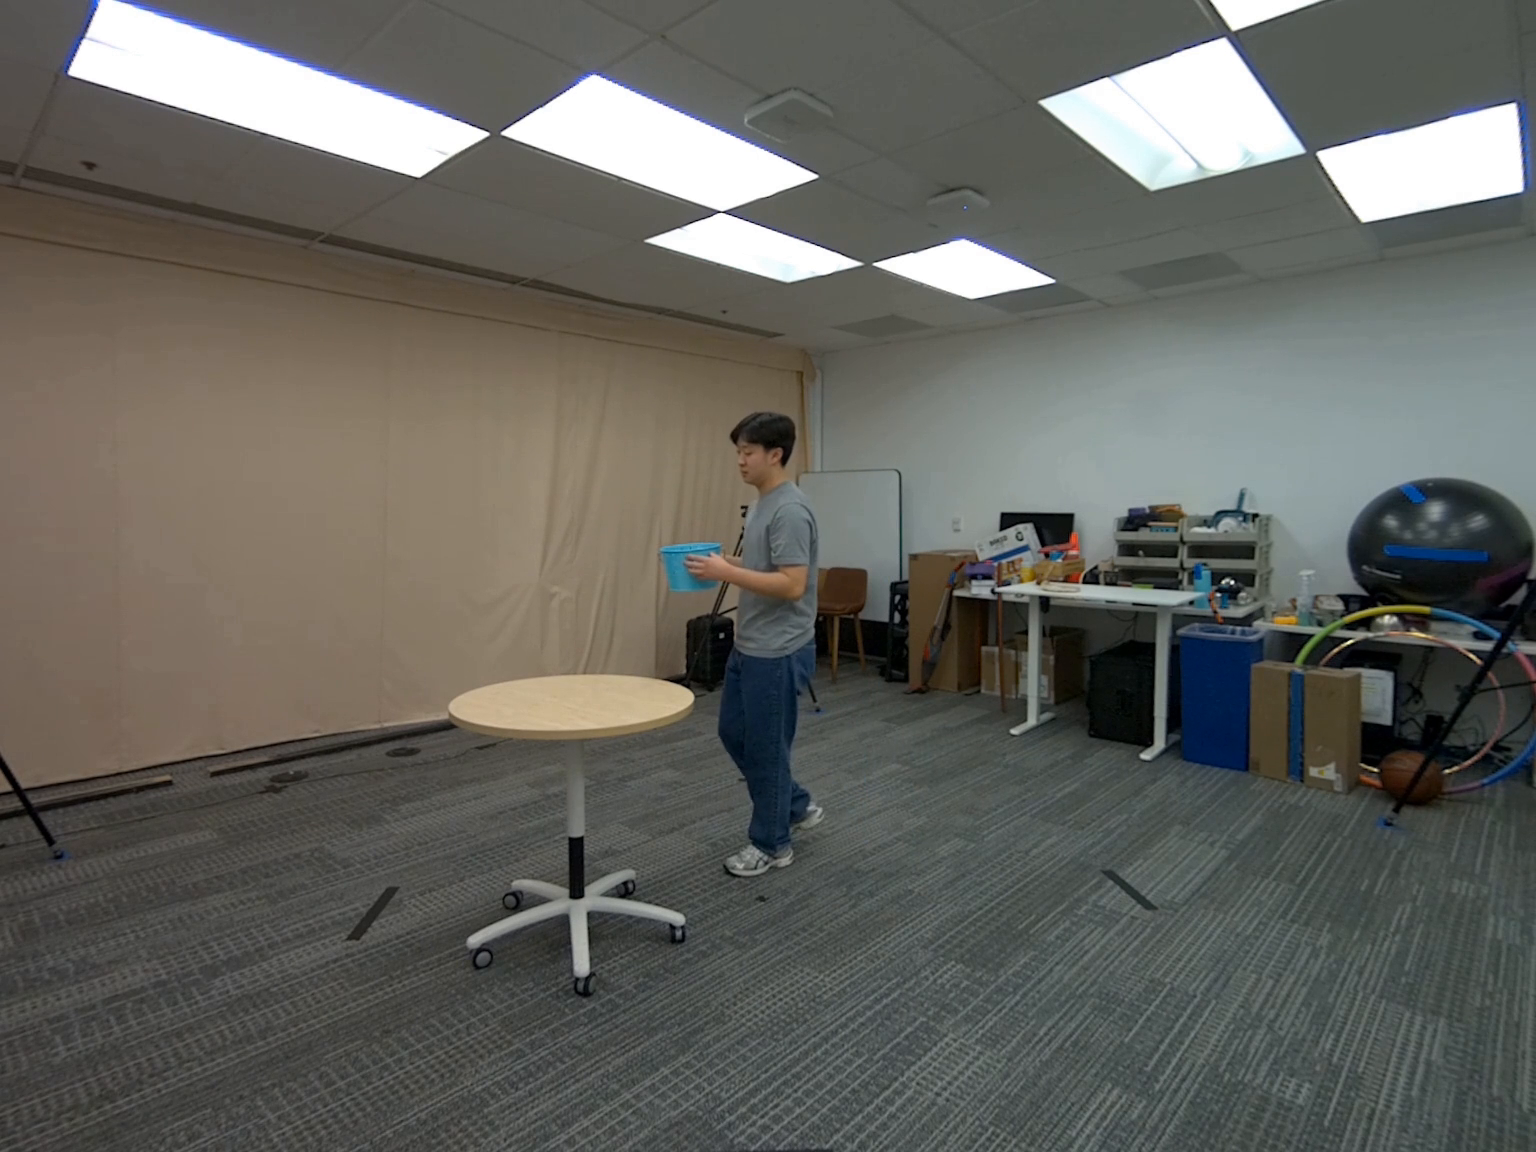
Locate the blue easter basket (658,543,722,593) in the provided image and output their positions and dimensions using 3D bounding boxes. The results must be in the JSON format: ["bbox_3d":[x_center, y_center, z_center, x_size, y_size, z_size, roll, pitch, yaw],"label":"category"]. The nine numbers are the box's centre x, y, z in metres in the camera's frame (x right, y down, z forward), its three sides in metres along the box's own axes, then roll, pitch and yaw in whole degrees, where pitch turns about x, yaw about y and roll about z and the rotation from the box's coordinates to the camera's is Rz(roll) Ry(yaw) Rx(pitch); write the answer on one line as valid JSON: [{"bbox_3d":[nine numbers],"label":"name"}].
[{"bbox_3d":[-0.271,-0.028,3.143,0.243,0.155,0.245,-4,8,-1],"label":"blue easter basket"}]
